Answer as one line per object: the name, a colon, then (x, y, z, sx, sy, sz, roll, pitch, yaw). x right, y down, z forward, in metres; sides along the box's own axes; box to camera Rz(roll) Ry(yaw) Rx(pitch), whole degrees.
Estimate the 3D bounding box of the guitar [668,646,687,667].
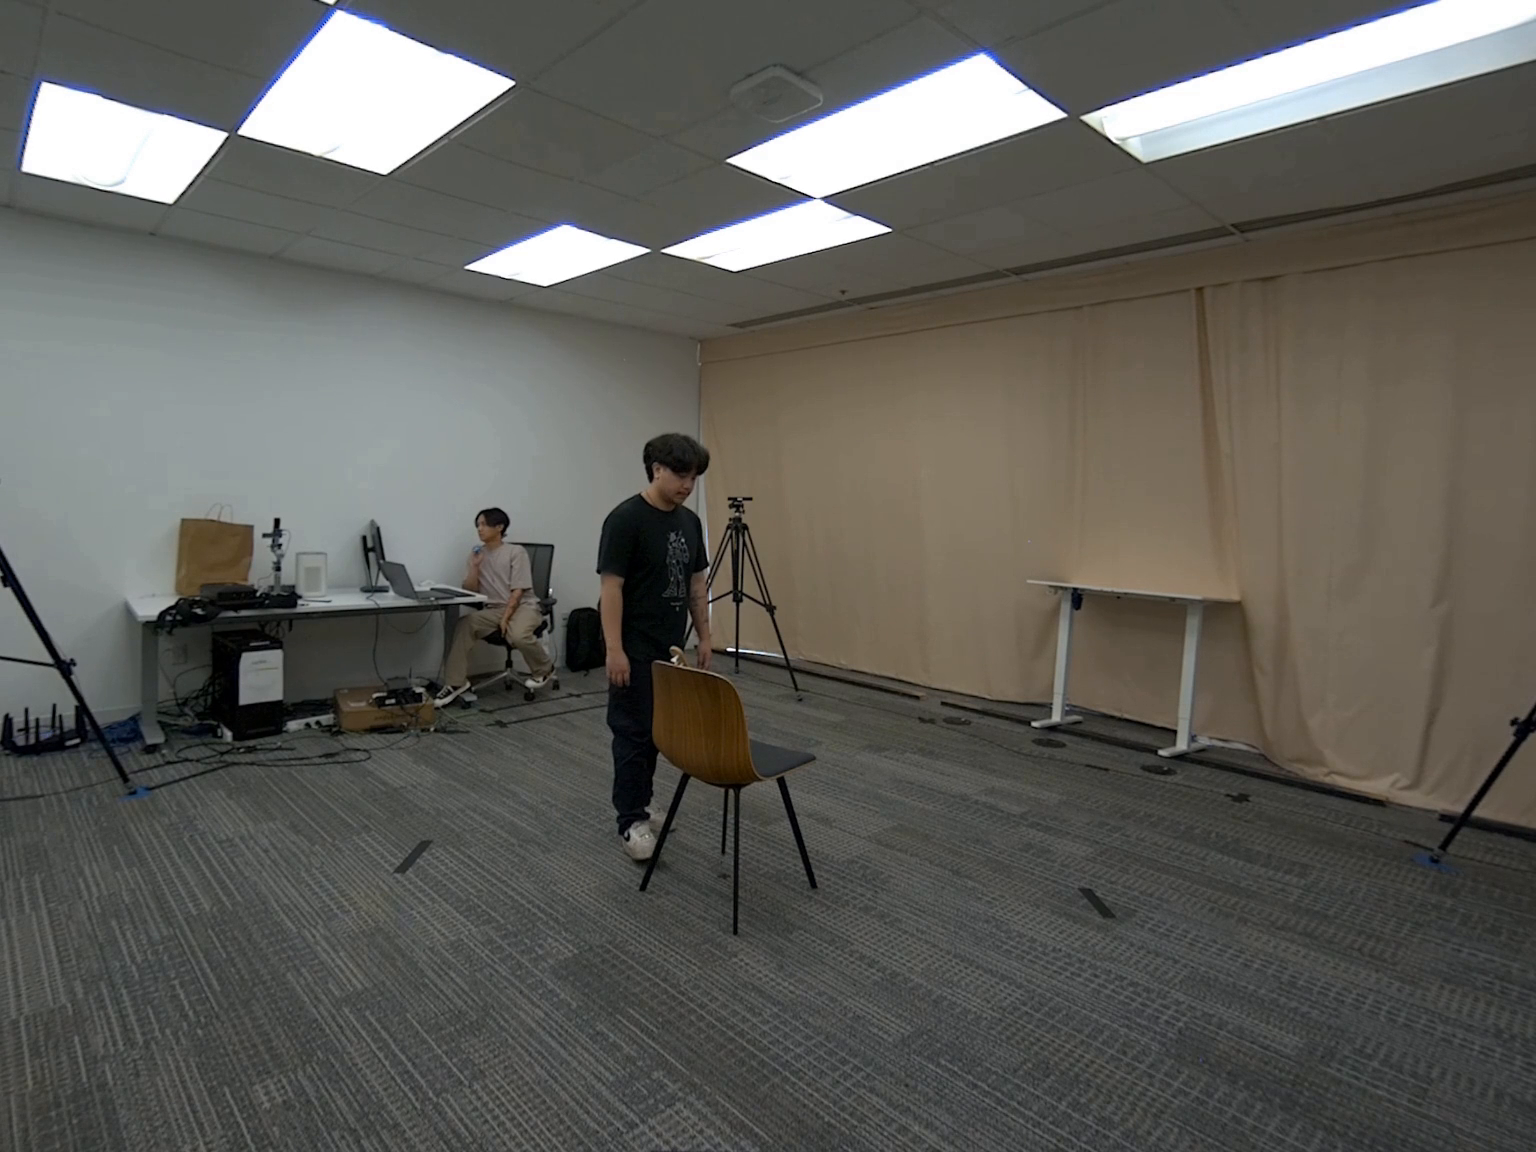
guitar: (-0.244, 0.438, 2.887, 0.198, 0.486, 0.070, 4, 39, 46)
